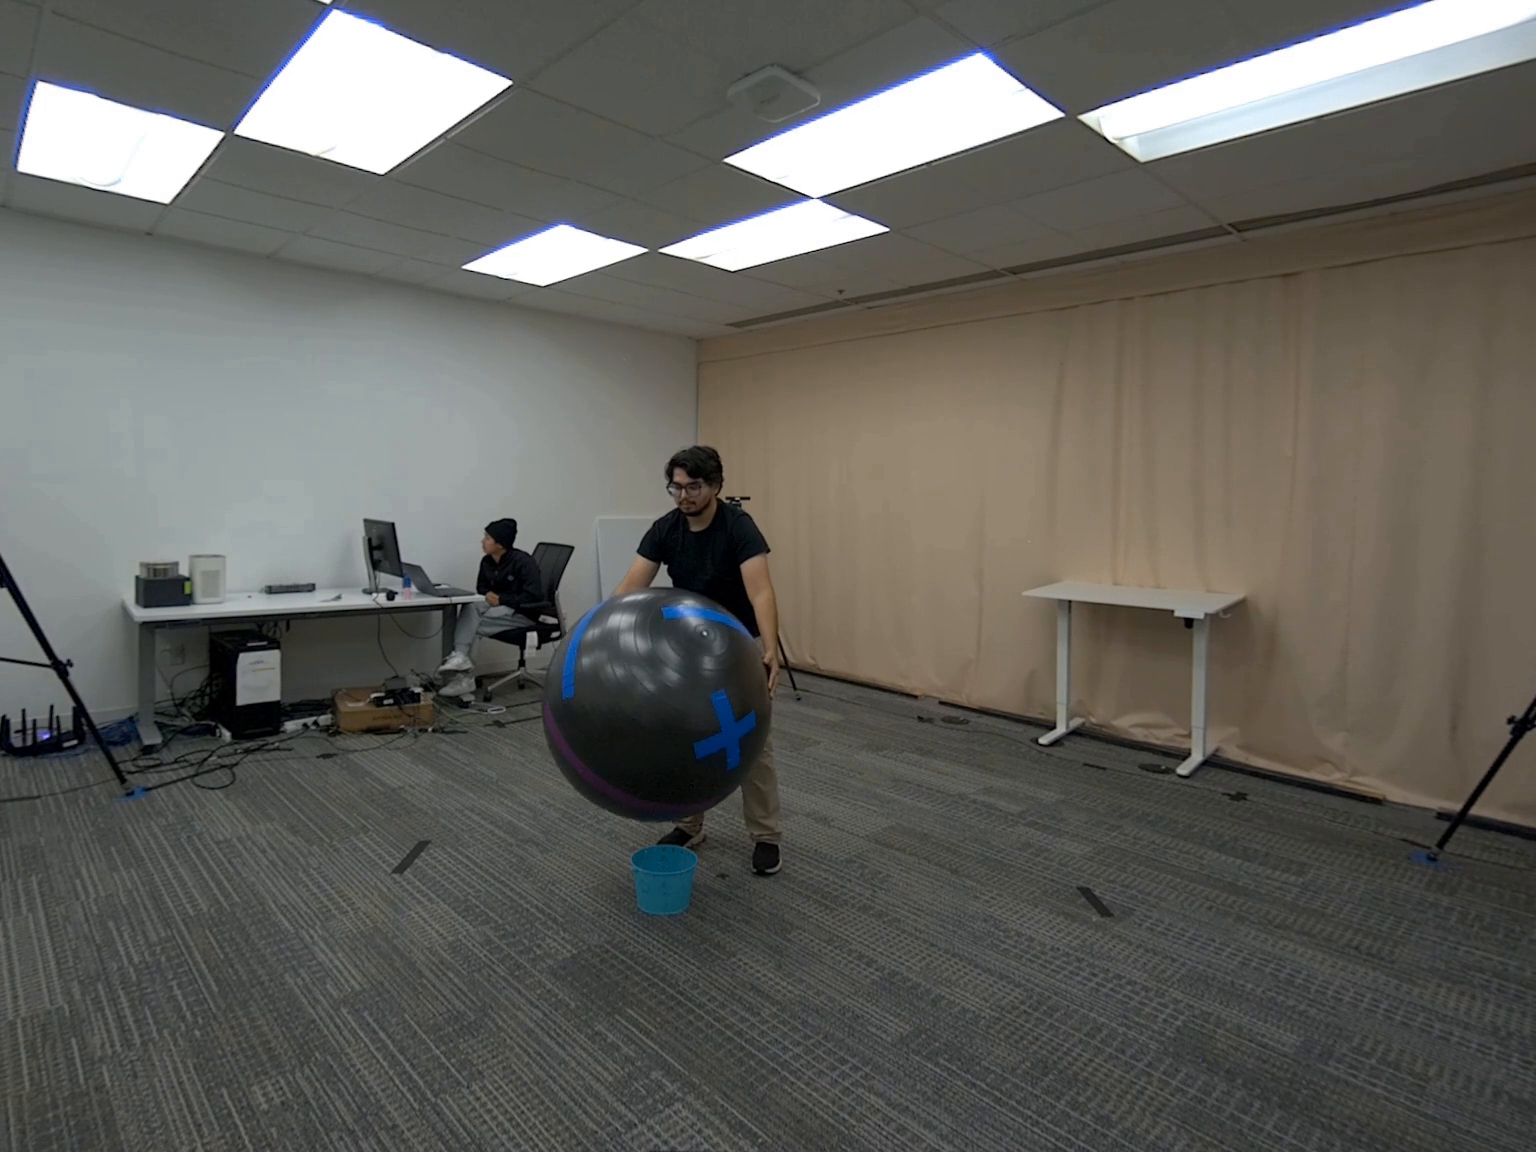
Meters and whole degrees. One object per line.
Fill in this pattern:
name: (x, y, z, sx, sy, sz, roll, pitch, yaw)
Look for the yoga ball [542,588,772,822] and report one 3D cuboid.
yoga ball: (-0.366, 0.423, 2.782, 0.757, 0.756, 0.761, 1, 4, -1)
